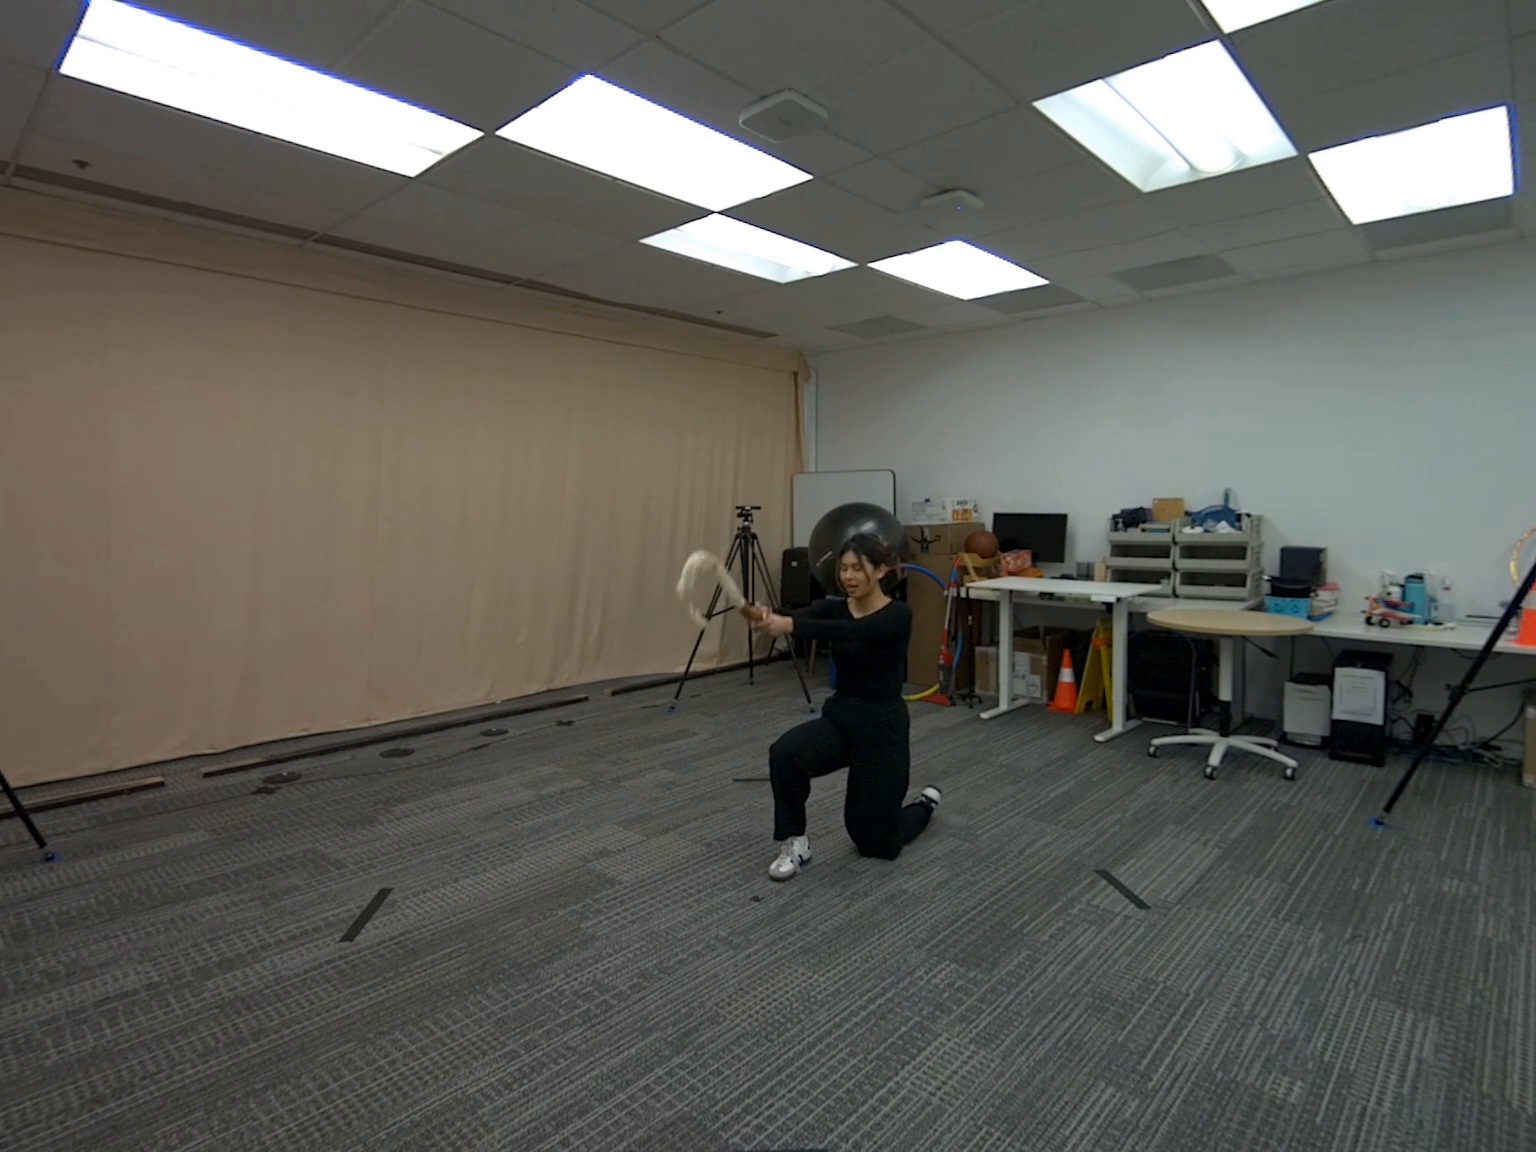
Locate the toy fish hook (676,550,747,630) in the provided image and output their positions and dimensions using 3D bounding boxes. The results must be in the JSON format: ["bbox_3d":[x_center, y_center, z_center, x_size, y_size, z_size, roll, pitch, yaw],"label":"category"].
[{"bbox_3d":[-0.110,0.125,2.825,0.050,0.224,0.489,14,-22,43],"label":"toy fish hook"}]
